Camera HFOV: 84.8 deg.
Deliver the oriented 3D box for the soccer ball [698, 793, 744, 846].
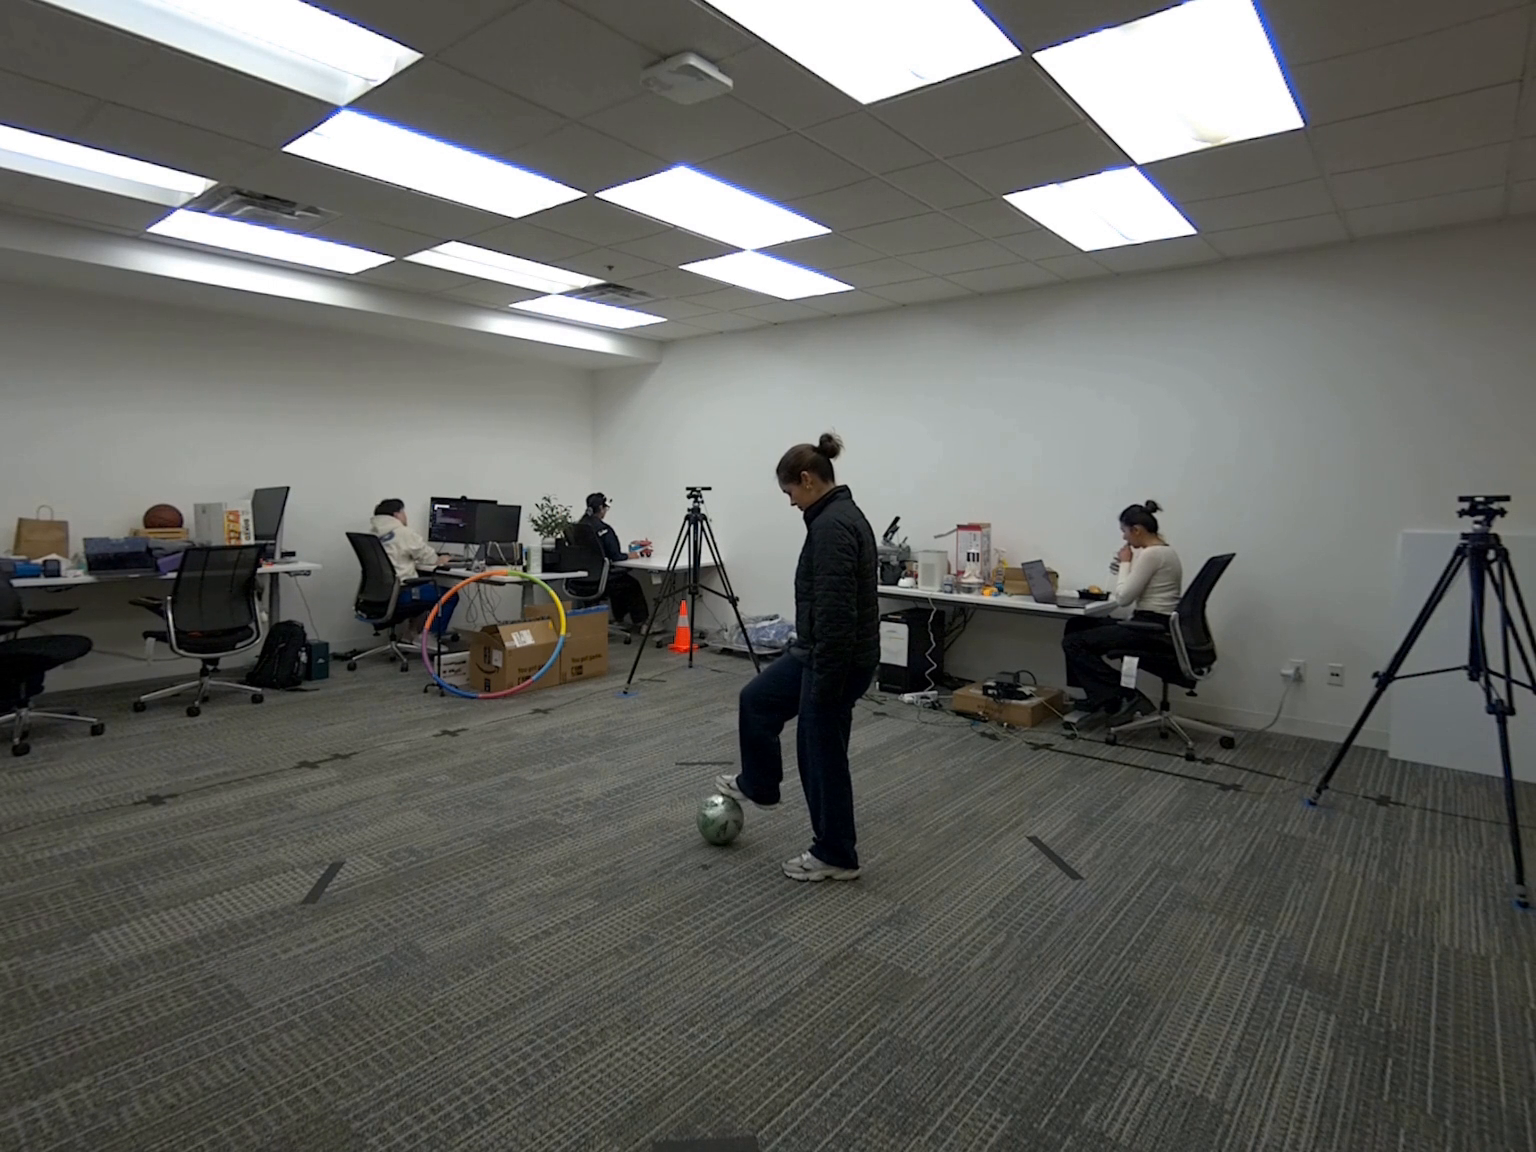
[{"bbox_3d":[-0.199,0.949,3.336,0.187,0.187,0.188,1,4,-2],"label":"soccer ball"}]
